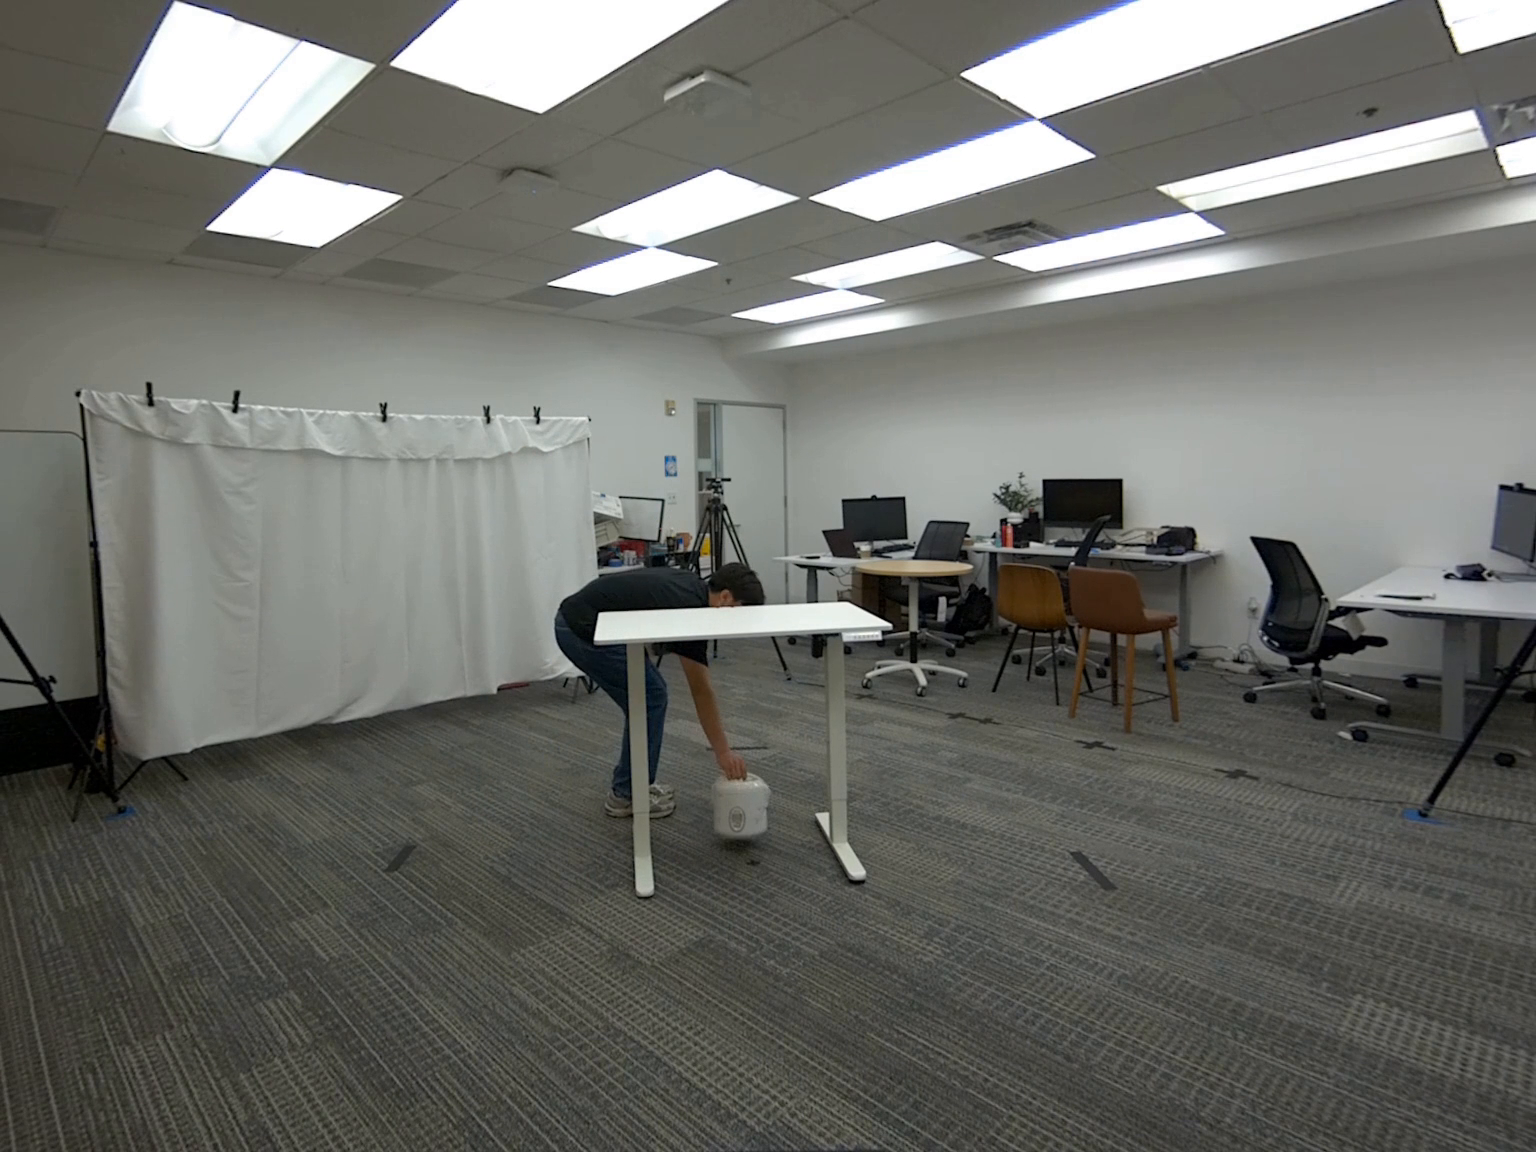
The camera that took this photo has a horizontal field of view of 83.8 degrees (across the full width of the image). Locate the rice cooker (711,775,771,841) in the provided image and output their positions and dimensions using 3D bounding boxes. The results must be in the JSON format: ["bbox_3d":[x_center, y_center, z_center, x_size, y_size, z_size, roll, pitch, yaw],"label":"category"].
[{"bbox_3d":[-0.104,0.862,3.264,0.222,0.234,0.215,-3,-6,6],"label":"rice cooker"}]
